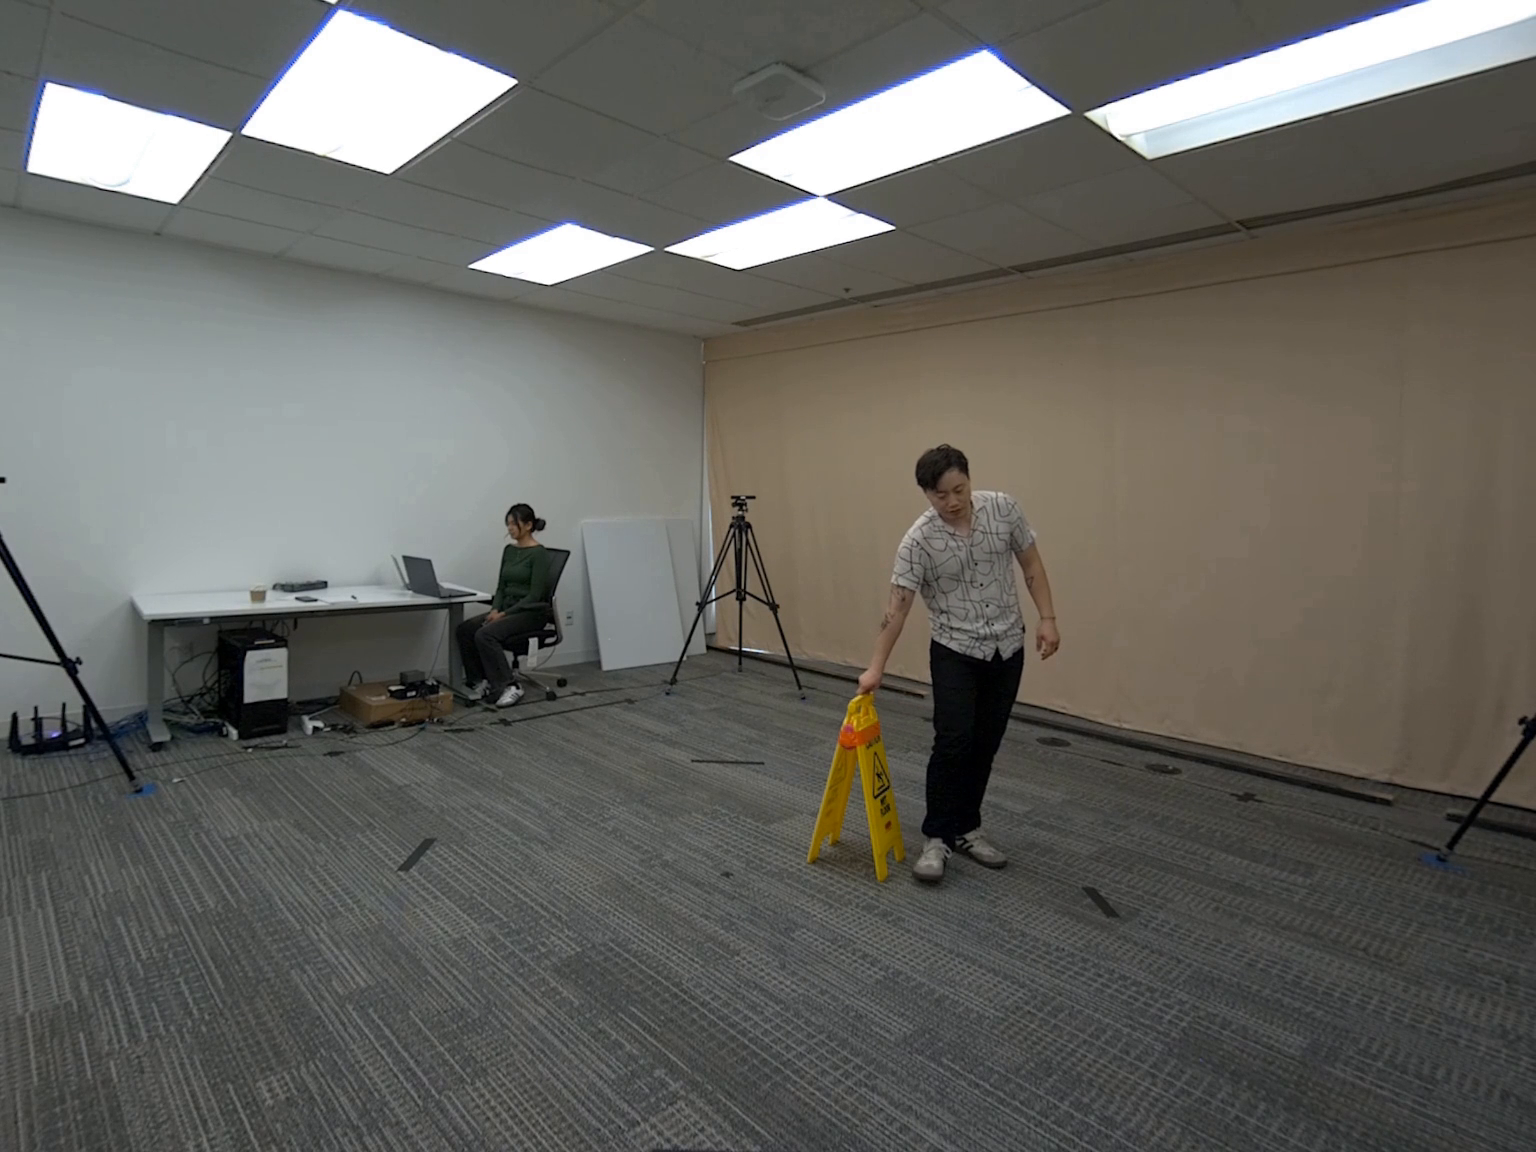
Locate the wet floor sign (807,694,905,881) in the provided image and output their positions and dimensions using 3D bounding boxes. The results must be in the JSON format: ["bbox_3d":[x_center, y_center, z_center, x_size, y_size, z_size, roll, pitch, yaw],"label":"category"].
[{"bbox_3d":[0.338,0.776,3.241,0.296,0.645,0.277,2,2,29],"label":"wet floor sign"}]
